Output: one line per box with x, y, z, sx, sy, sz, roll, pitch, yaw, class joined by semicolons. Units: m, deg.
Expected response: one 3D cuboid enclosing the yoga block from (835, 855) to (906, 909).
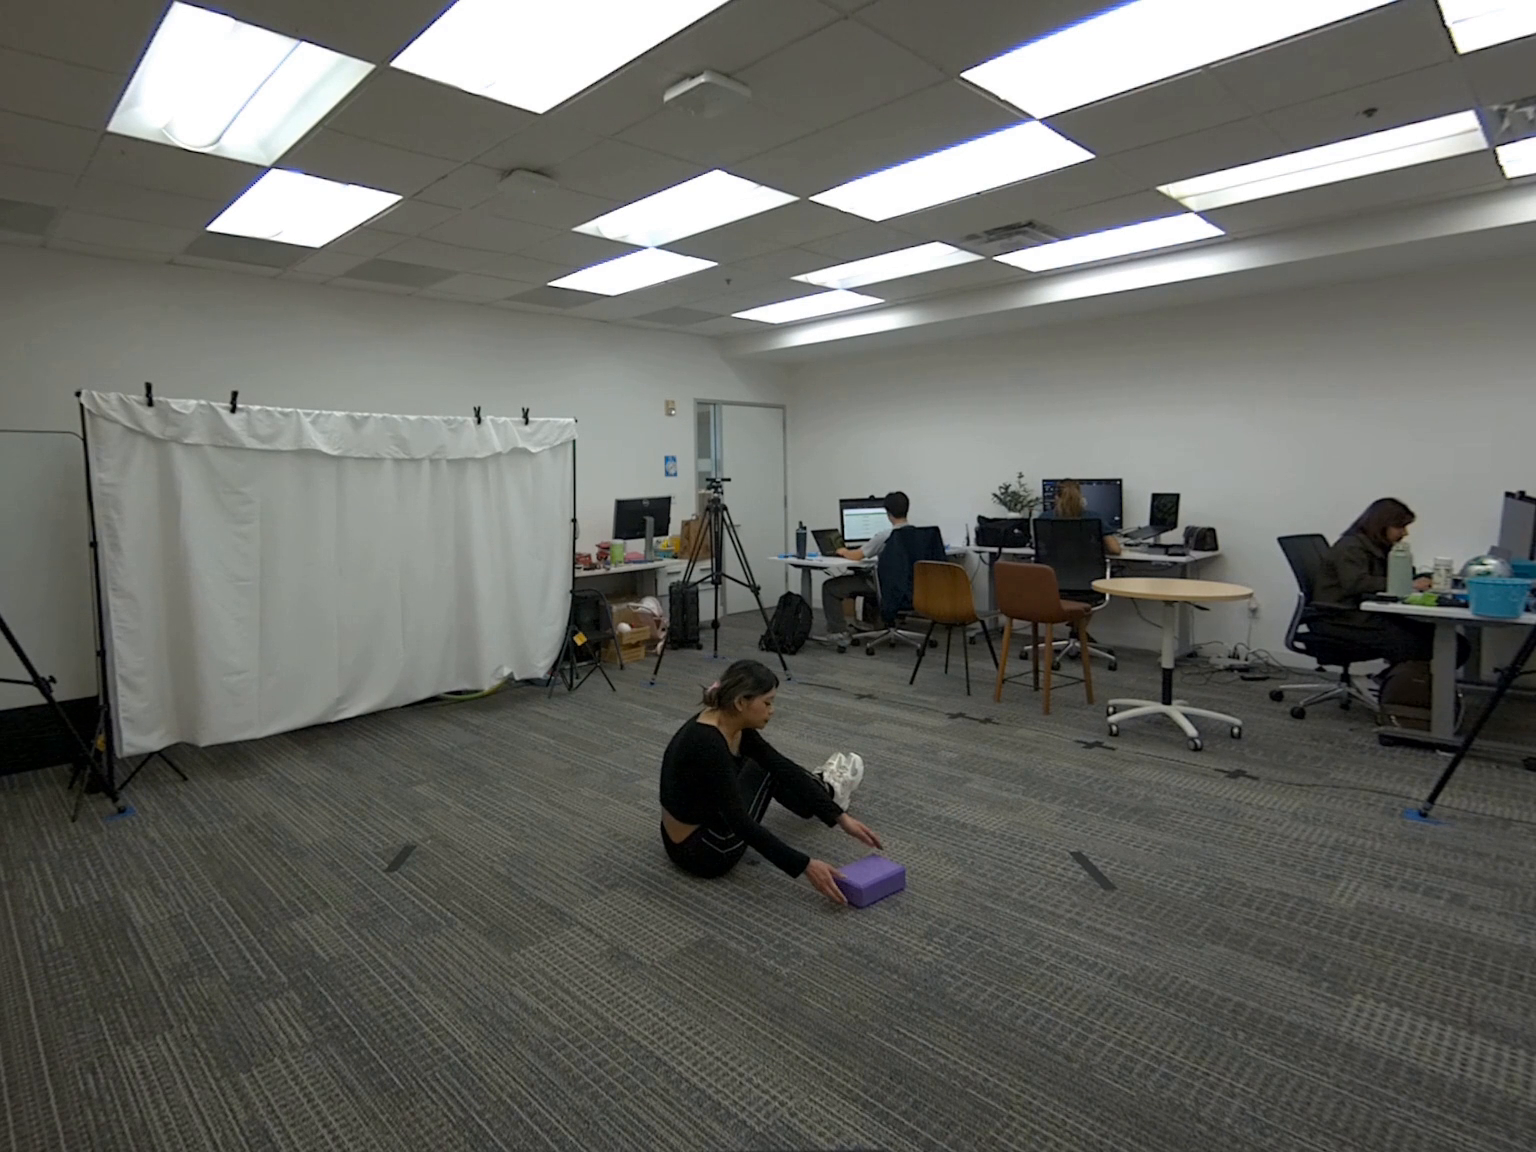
0.333;1.010;2.875;0.223;0.076;0.153;-4;7;-40;yoga block
